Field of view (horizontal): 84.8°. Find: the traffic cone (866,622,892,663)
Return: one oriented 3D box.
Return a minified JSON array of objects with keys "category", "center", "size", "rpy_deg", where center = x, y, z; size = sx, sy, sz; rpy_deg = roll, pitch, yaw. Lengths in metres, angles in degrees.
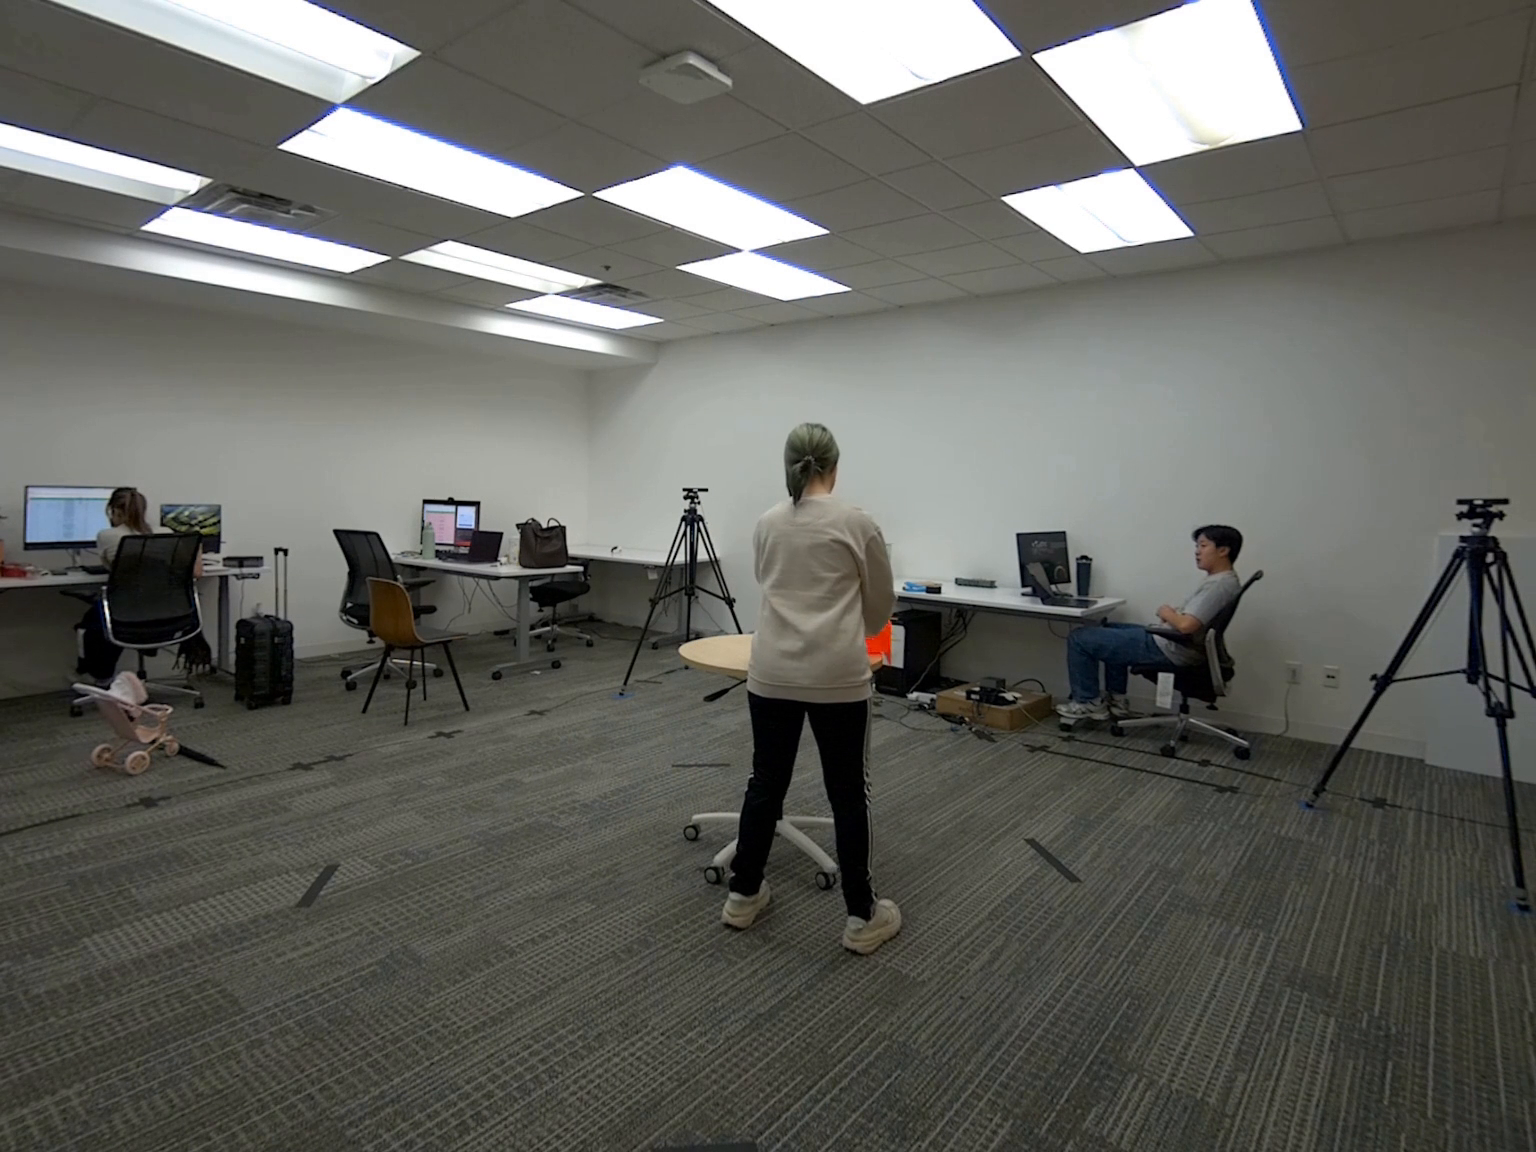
[{"category":"traffic cone","center":[0.241,0.238,3.207],"size":[0.383,0.199,0.209],"rpy_deg":[-9,29,-2]}]
